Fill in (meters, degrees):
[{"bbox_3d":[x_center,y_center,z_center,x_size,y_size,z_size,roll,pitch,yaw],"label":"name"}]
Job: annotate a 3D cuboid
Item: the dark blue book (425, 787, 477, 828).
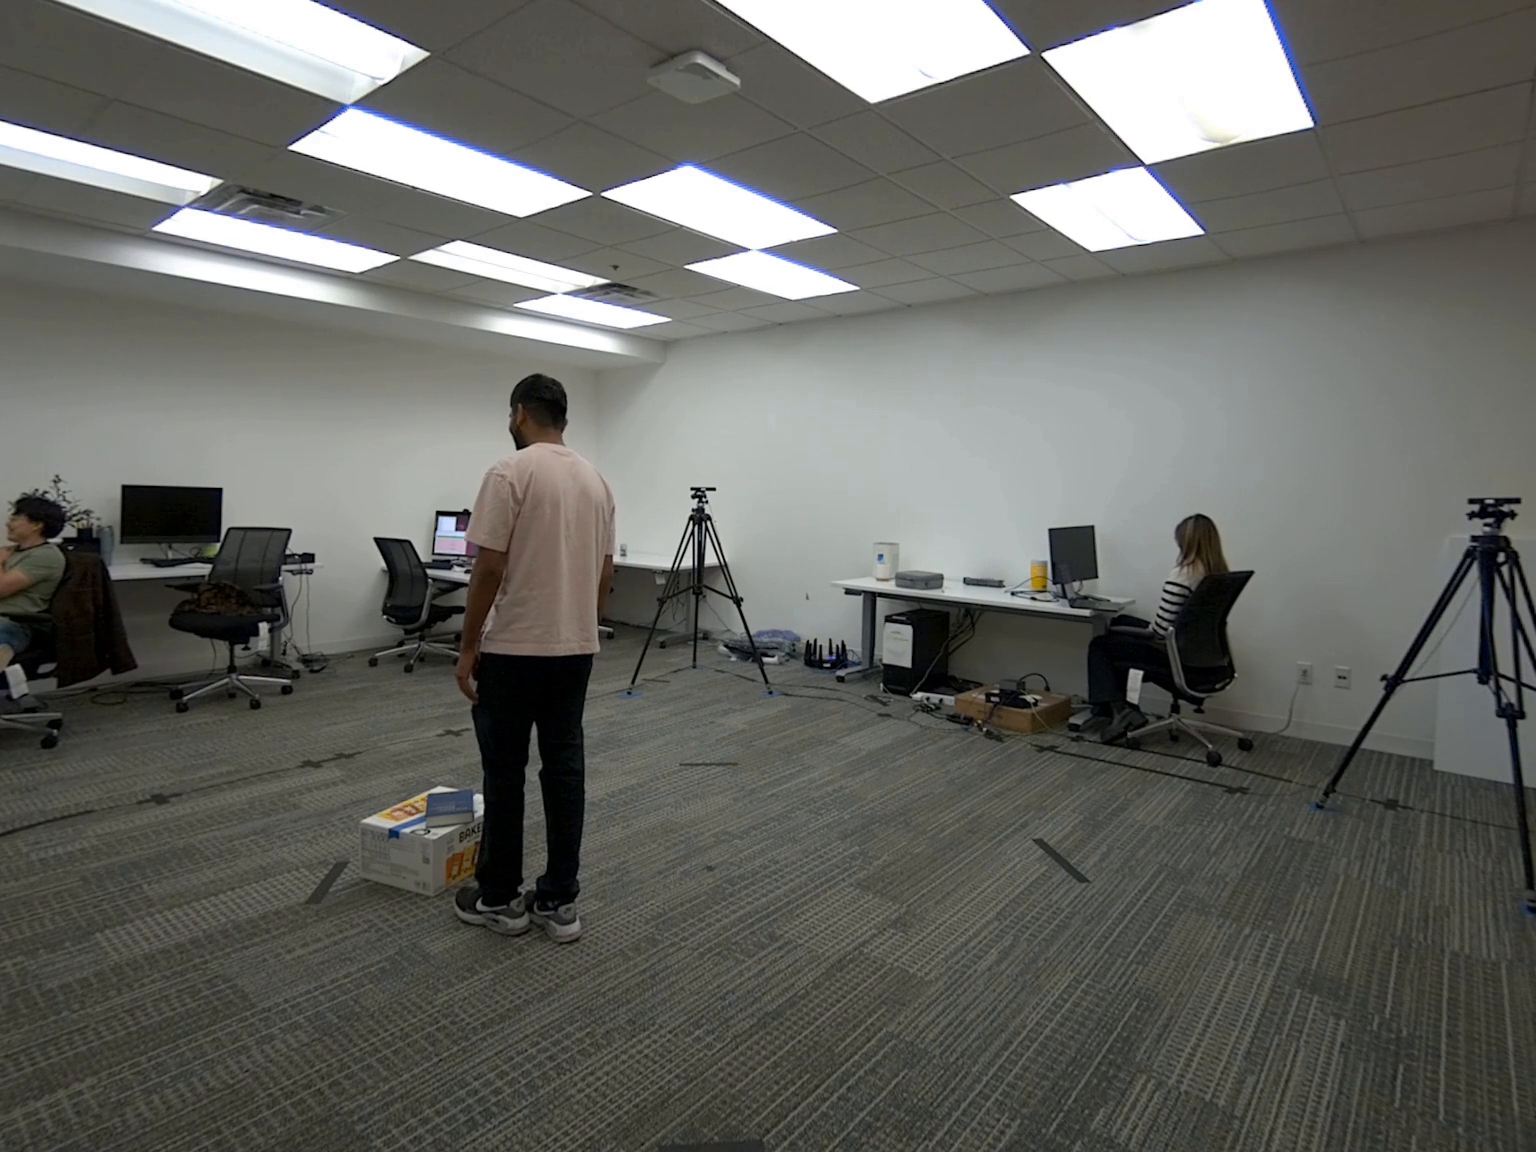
[{"bbox_3d":[-1.166,0.838,3.076,0.160,0.045,0.250,-4,6,-19],"label":"dark blue book"}]
